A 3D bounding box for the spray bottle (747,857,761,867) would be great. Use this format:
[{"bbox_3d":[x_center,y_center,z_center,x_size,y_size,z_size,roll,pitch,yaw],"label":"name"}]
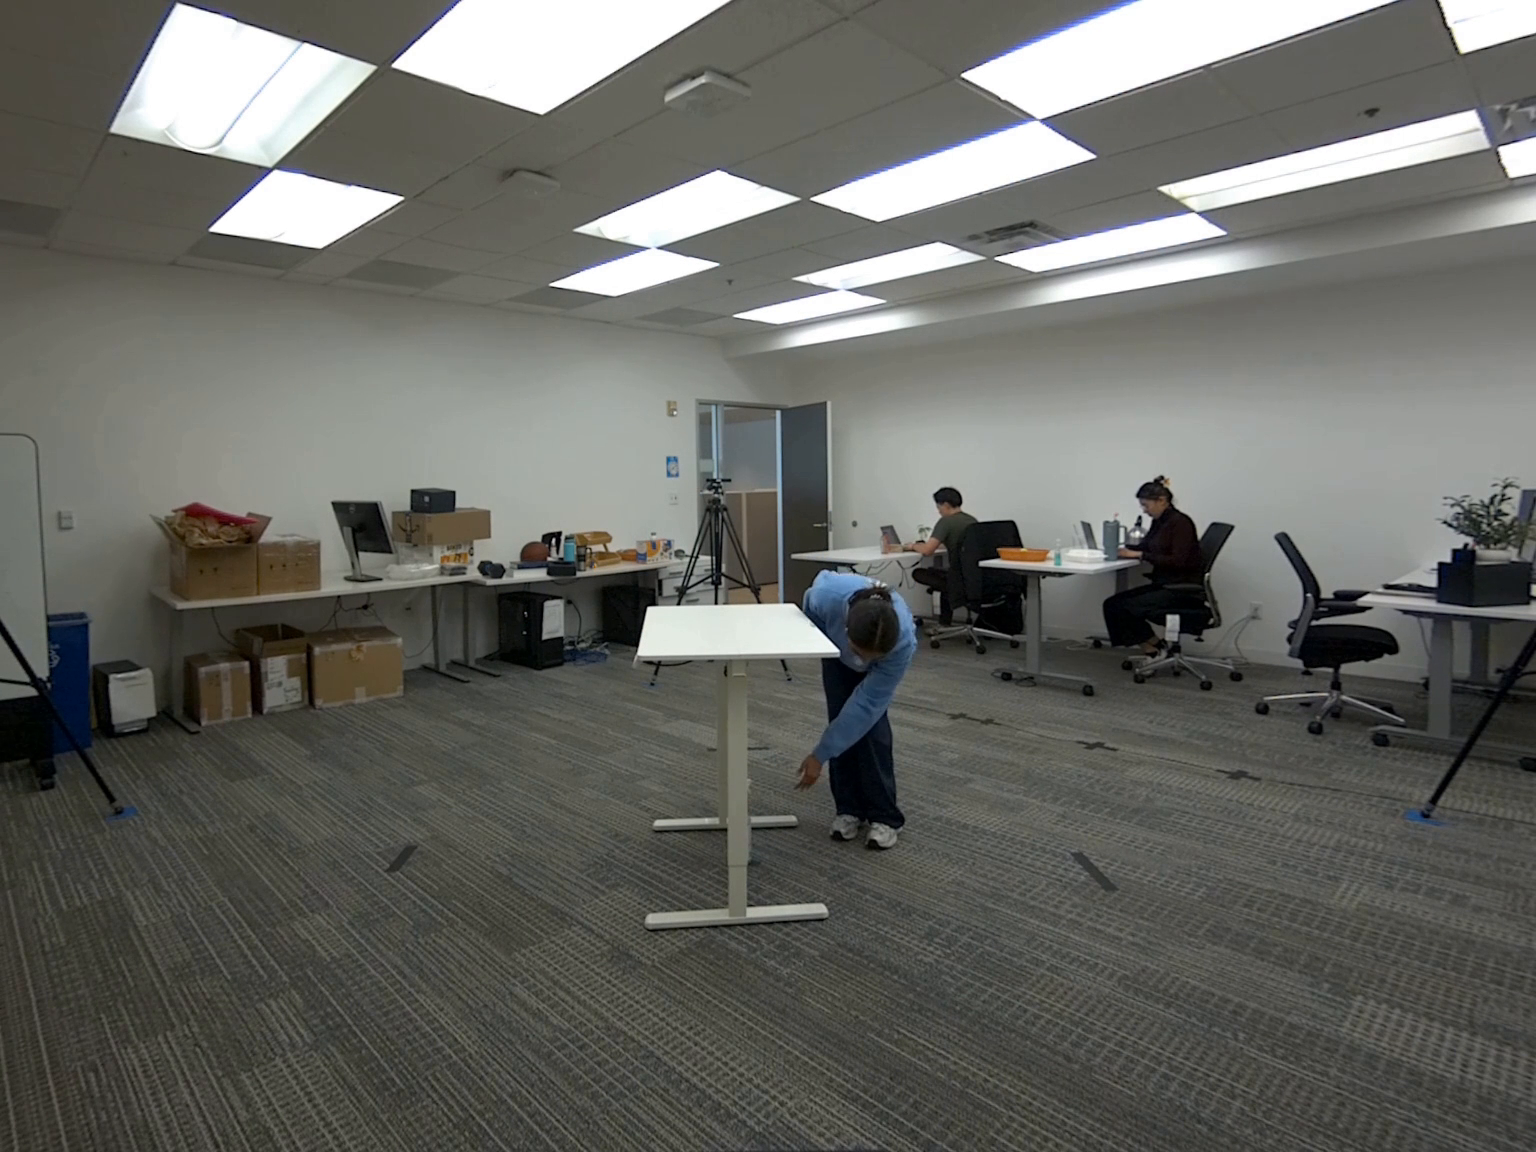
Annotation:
[{"bbox_3d":[-0.095,0.900,3.113,0.089,0.297,0.088,-2,1,-8],"label":"spray bottle"}]
